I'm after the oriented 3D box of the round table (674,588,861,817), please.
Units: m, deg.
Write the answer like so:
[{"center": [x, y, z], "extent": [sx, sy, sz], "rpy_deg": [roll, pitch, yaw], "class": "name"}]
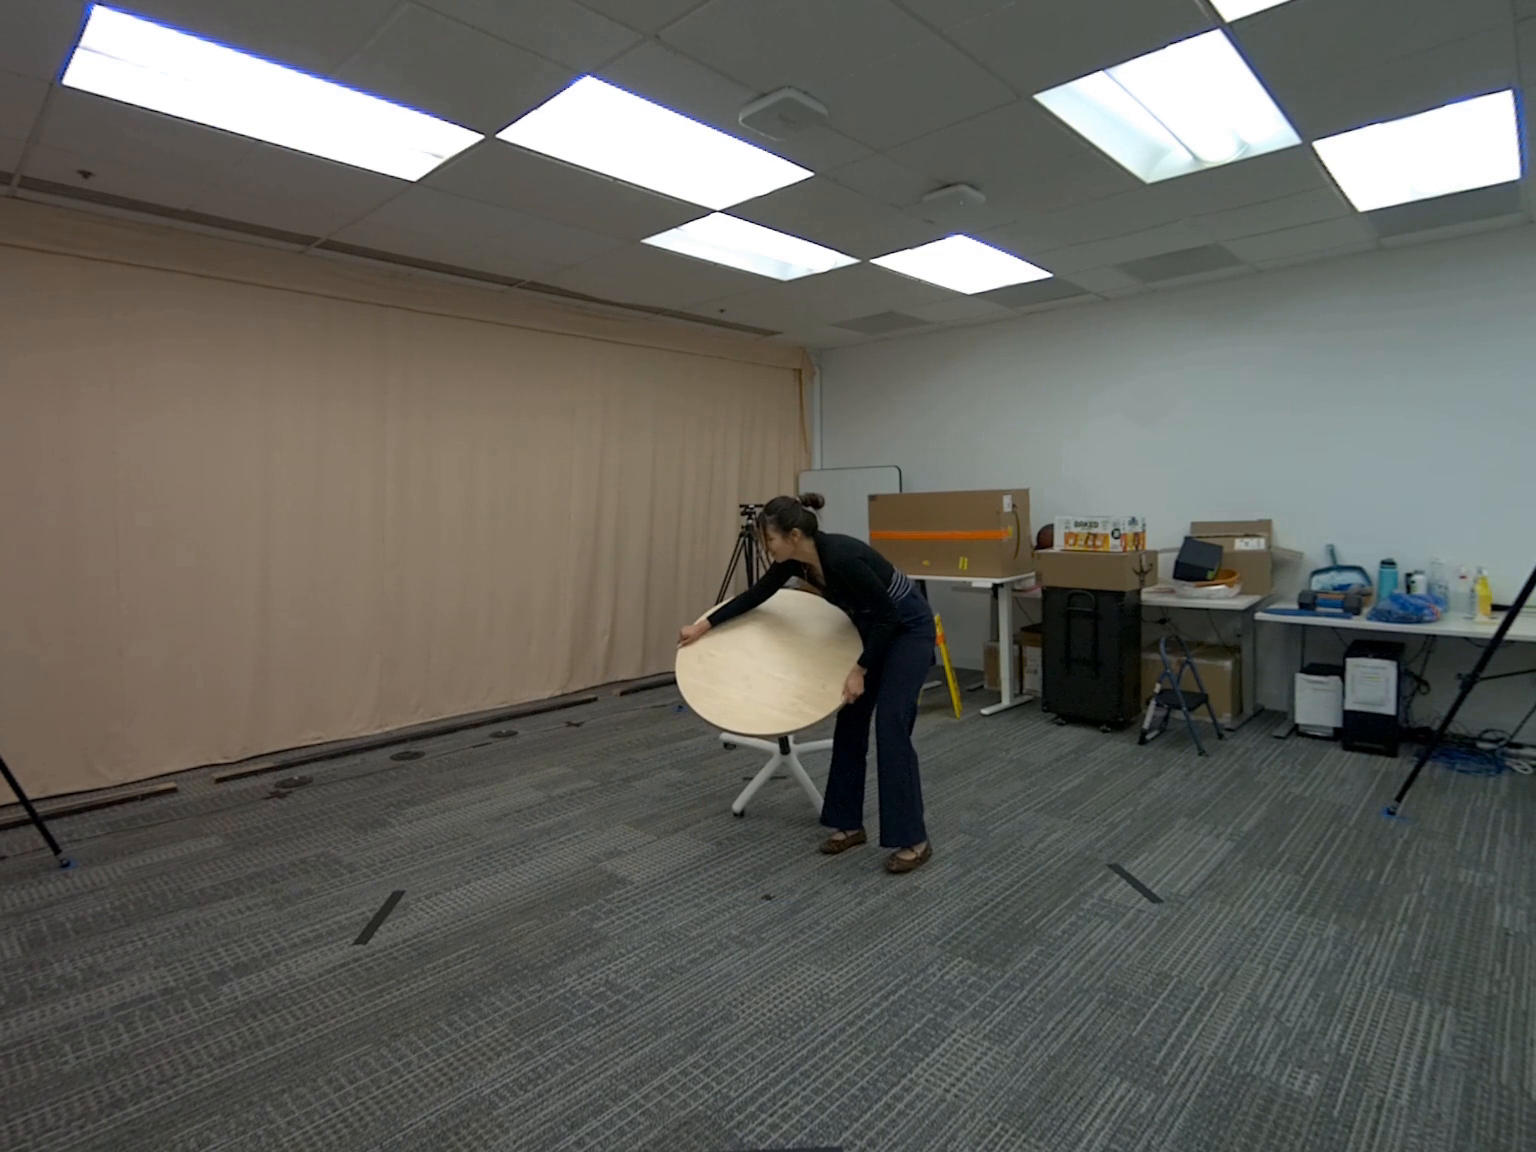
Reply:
[{"center": [0.047, 0.613, 3.679], "extent": [0.768, 0.775, 0.779], "rpy_deg": [-7, 41, 4], "class": "round table"}]
